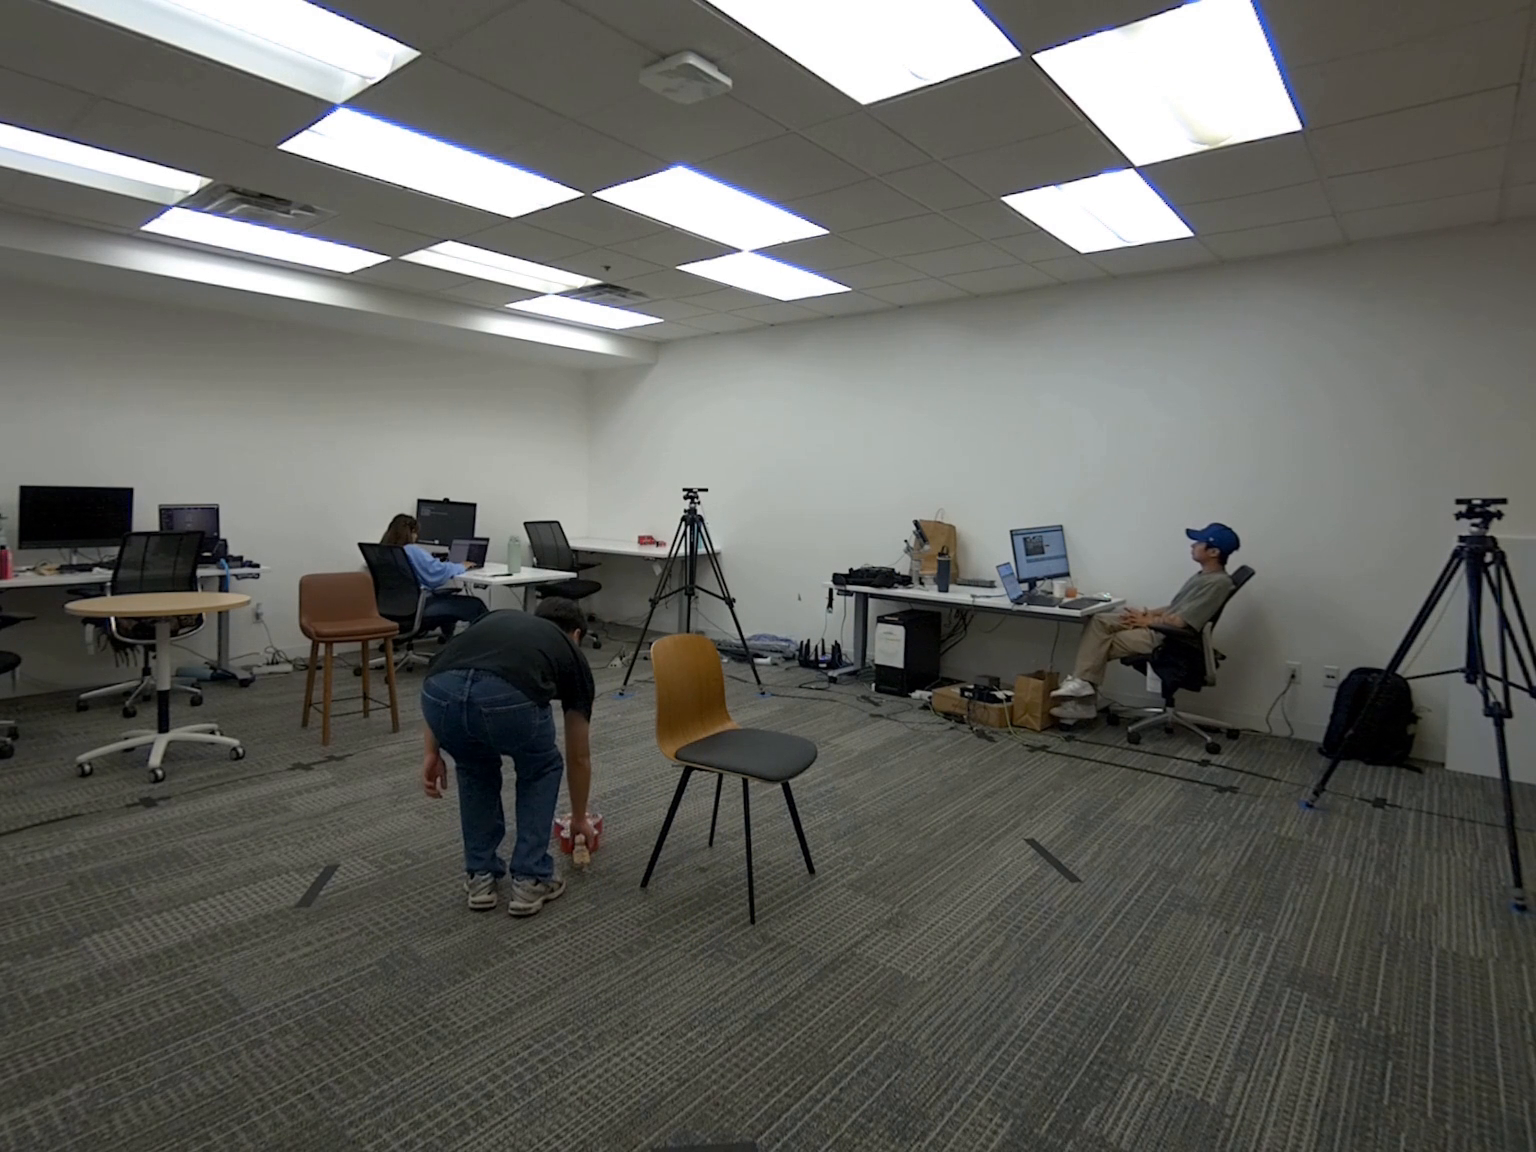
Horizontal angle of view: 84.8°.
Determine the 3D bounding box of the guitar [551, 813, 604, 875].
[{"bbox_3d":[-0.756,1.008,3.236,0.192,0.070,0.502,1,6,-5],"label":"guitar"}]
